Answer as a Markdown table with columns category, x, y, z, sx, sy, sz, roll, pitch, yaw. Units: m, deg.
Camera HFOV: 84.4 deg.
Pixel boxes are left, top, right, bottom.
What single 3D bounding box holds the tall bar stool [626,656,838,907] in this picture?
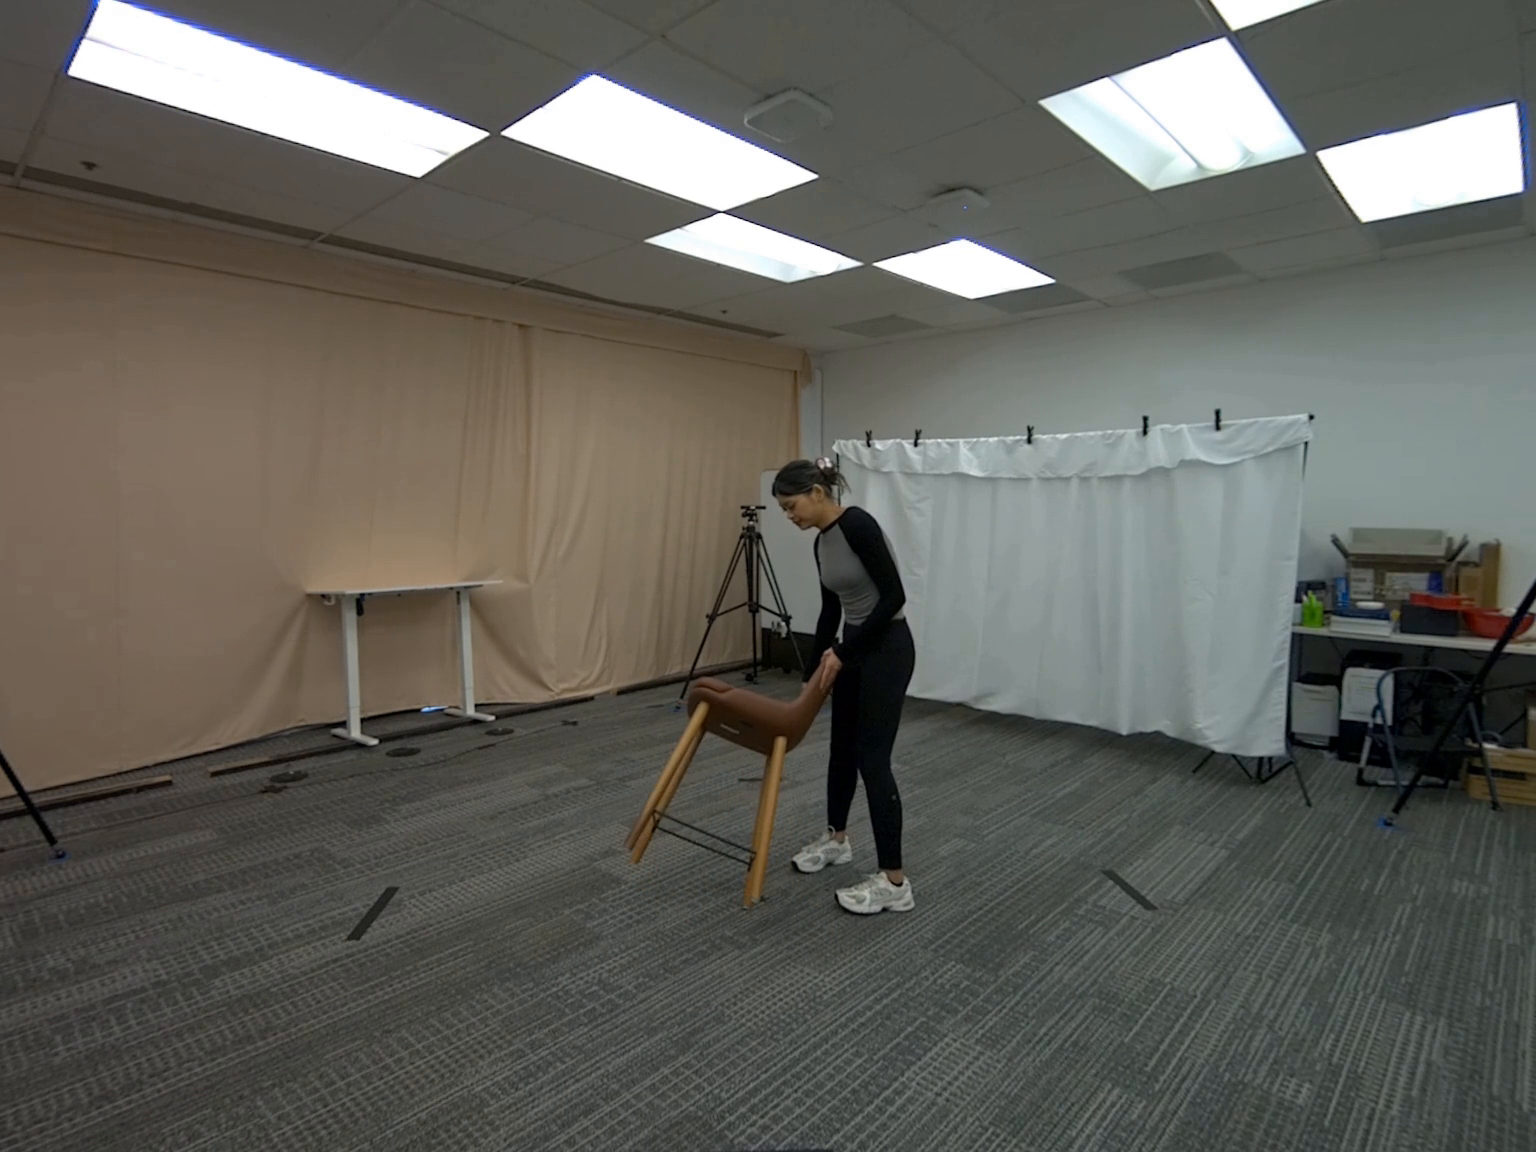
| category | x | y | z | sx | sy | sz | roll | pitch | yaw |
| --- | --- | --- | --- | --- | --- | --- | --- | --- | --- |
| tall bar stool | -0.112 | 0.642 | 2.945 | 0.472 | 0.892 | 0.451 | 20 | -25 | 6 |
